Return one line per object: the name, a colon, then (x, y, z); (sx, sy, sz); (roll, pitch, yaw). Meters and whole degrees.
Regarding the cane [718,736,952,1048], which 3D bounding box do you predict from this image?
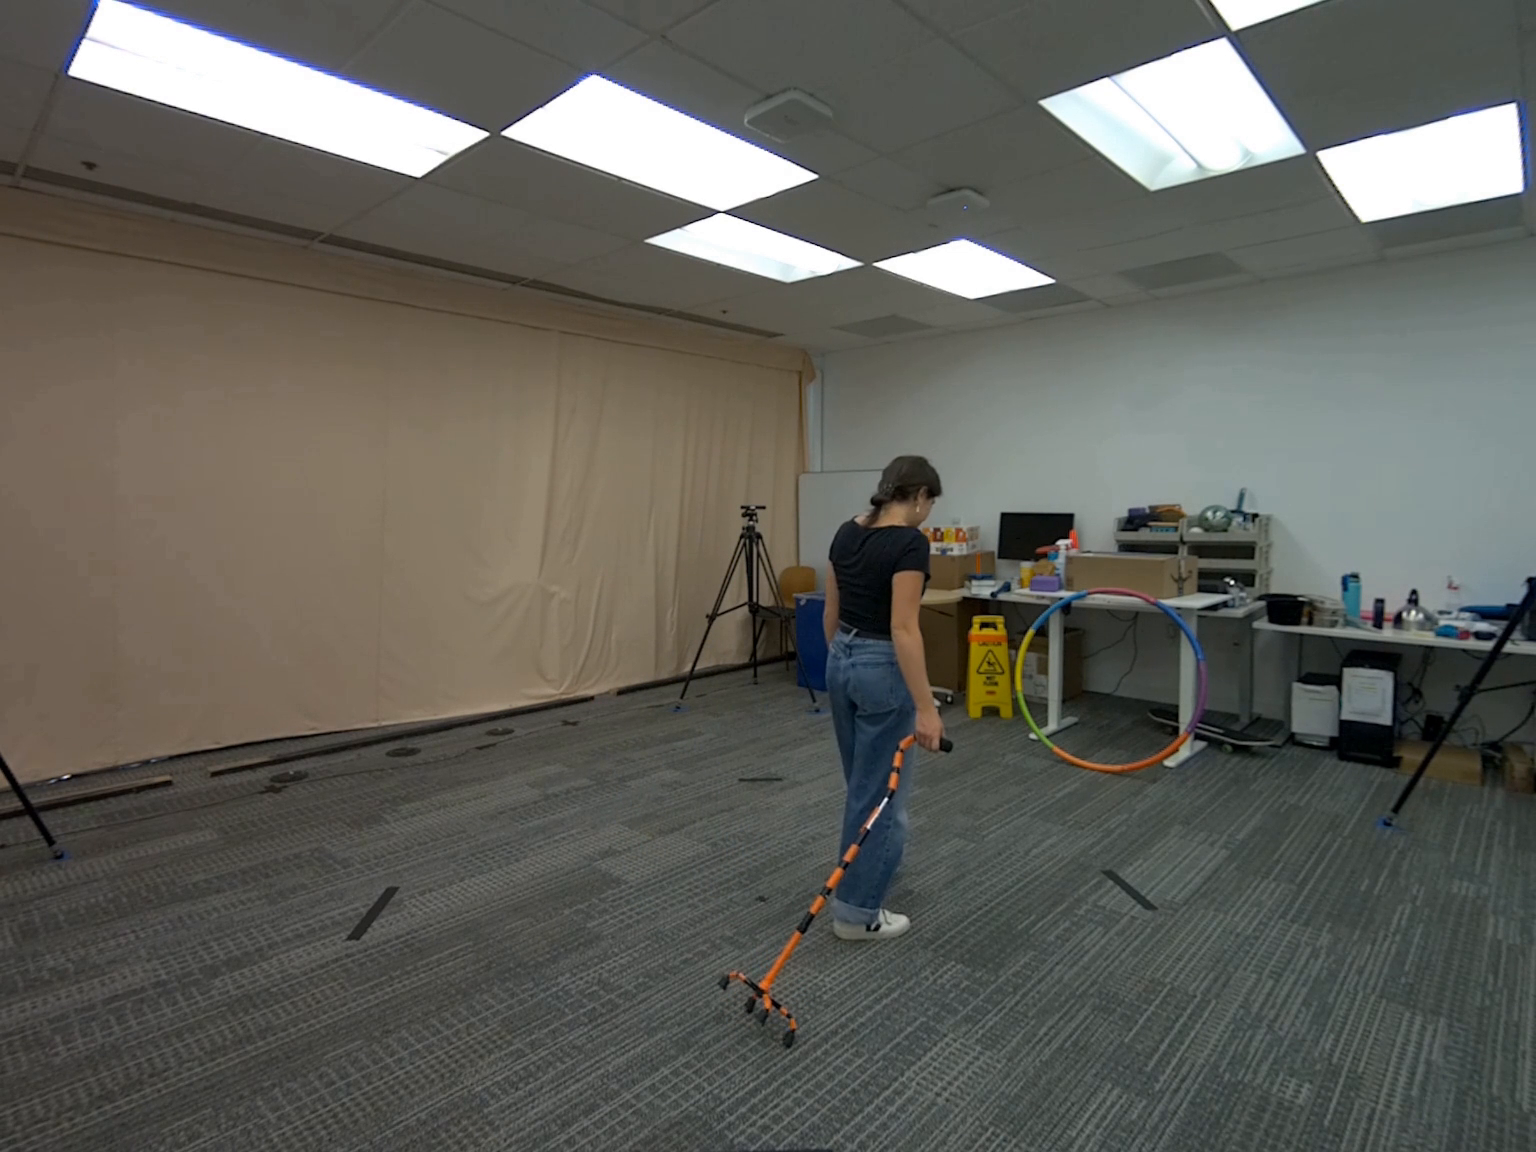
cane: (0.230, 0.821, 2.365); (0.147, 0.905, 0.213); (49, -22, -29)
